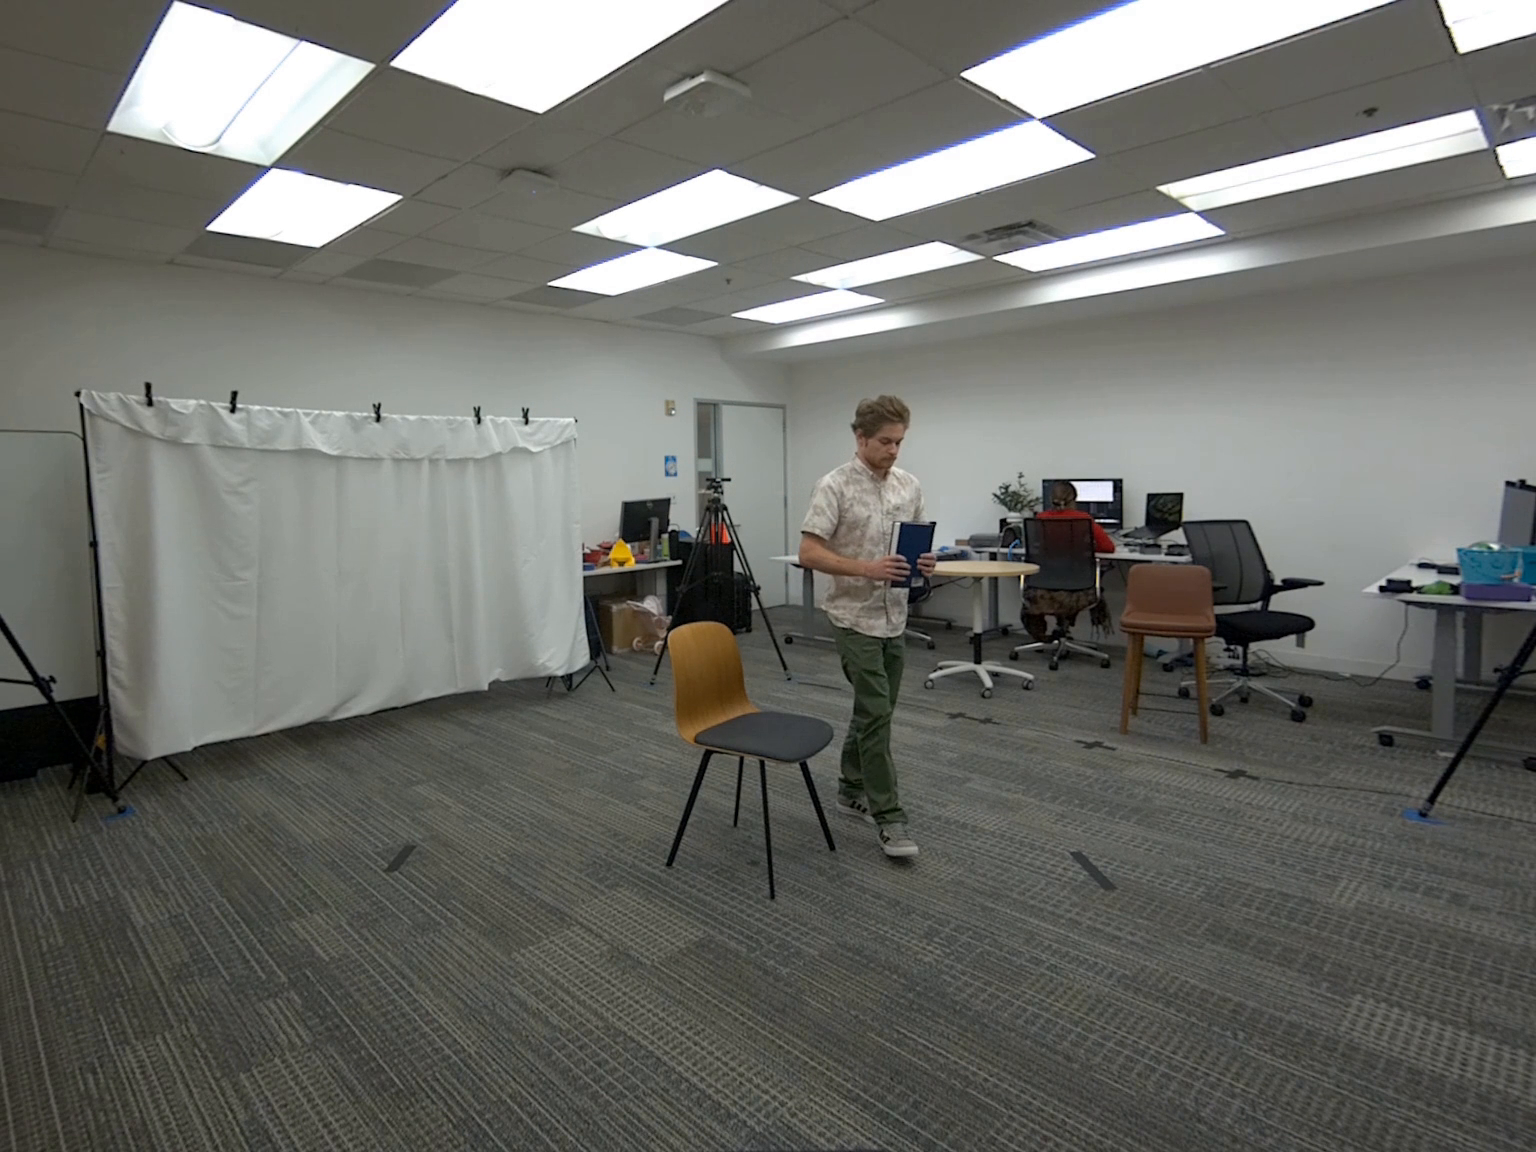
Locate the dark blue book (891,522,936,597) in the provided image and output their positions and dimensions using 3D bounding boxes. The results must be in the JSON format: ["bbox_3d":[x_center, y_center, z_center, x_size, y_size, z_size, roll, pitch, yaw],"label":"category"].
[{"bbox_3d":[0.521,-0.078,3.160,0.160,0.243,0.046,2,14,-25],"label":"dark blue book"}]
